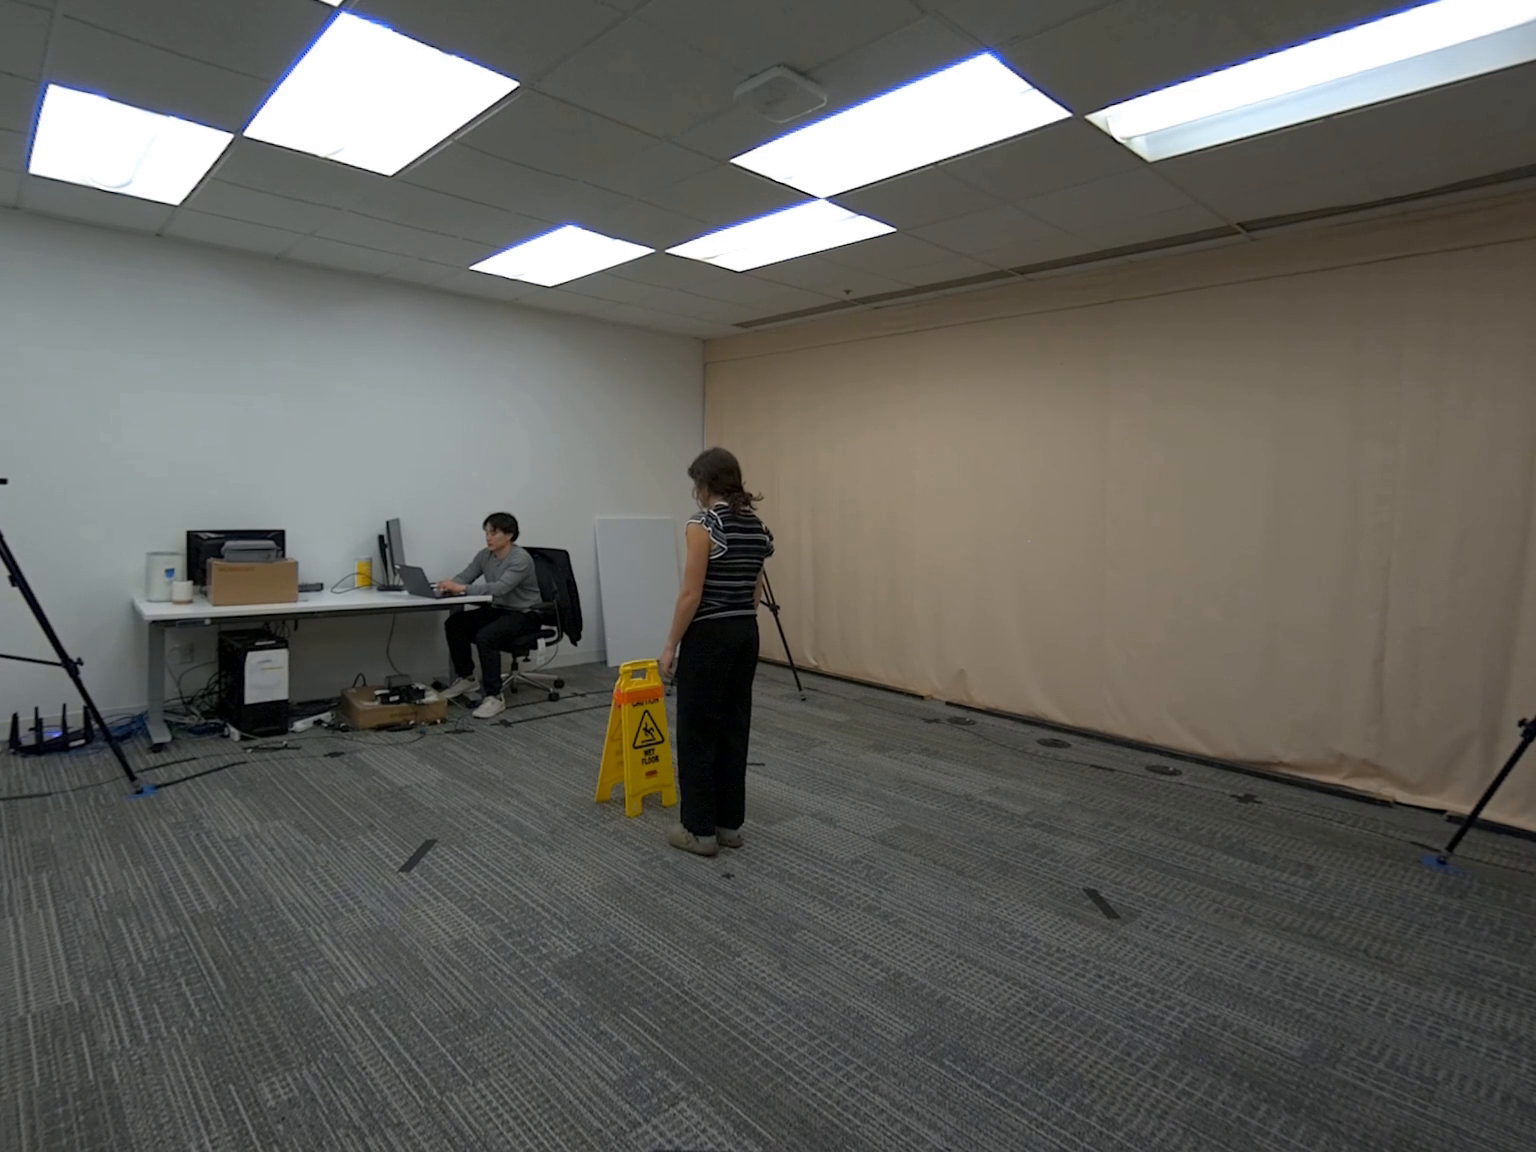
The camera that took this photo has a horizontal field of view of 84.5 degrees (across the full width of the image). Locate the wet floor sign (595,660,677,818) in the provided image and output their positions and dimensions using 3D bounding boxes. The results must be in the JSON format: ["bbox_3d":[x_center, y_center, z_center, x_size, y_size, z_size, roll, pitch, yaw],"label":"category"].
[{"bbox_3d":[-0.603,0.711,3.817,0.297,0.645,0.275,3,2,44],"label":"wet floor sign"}]
